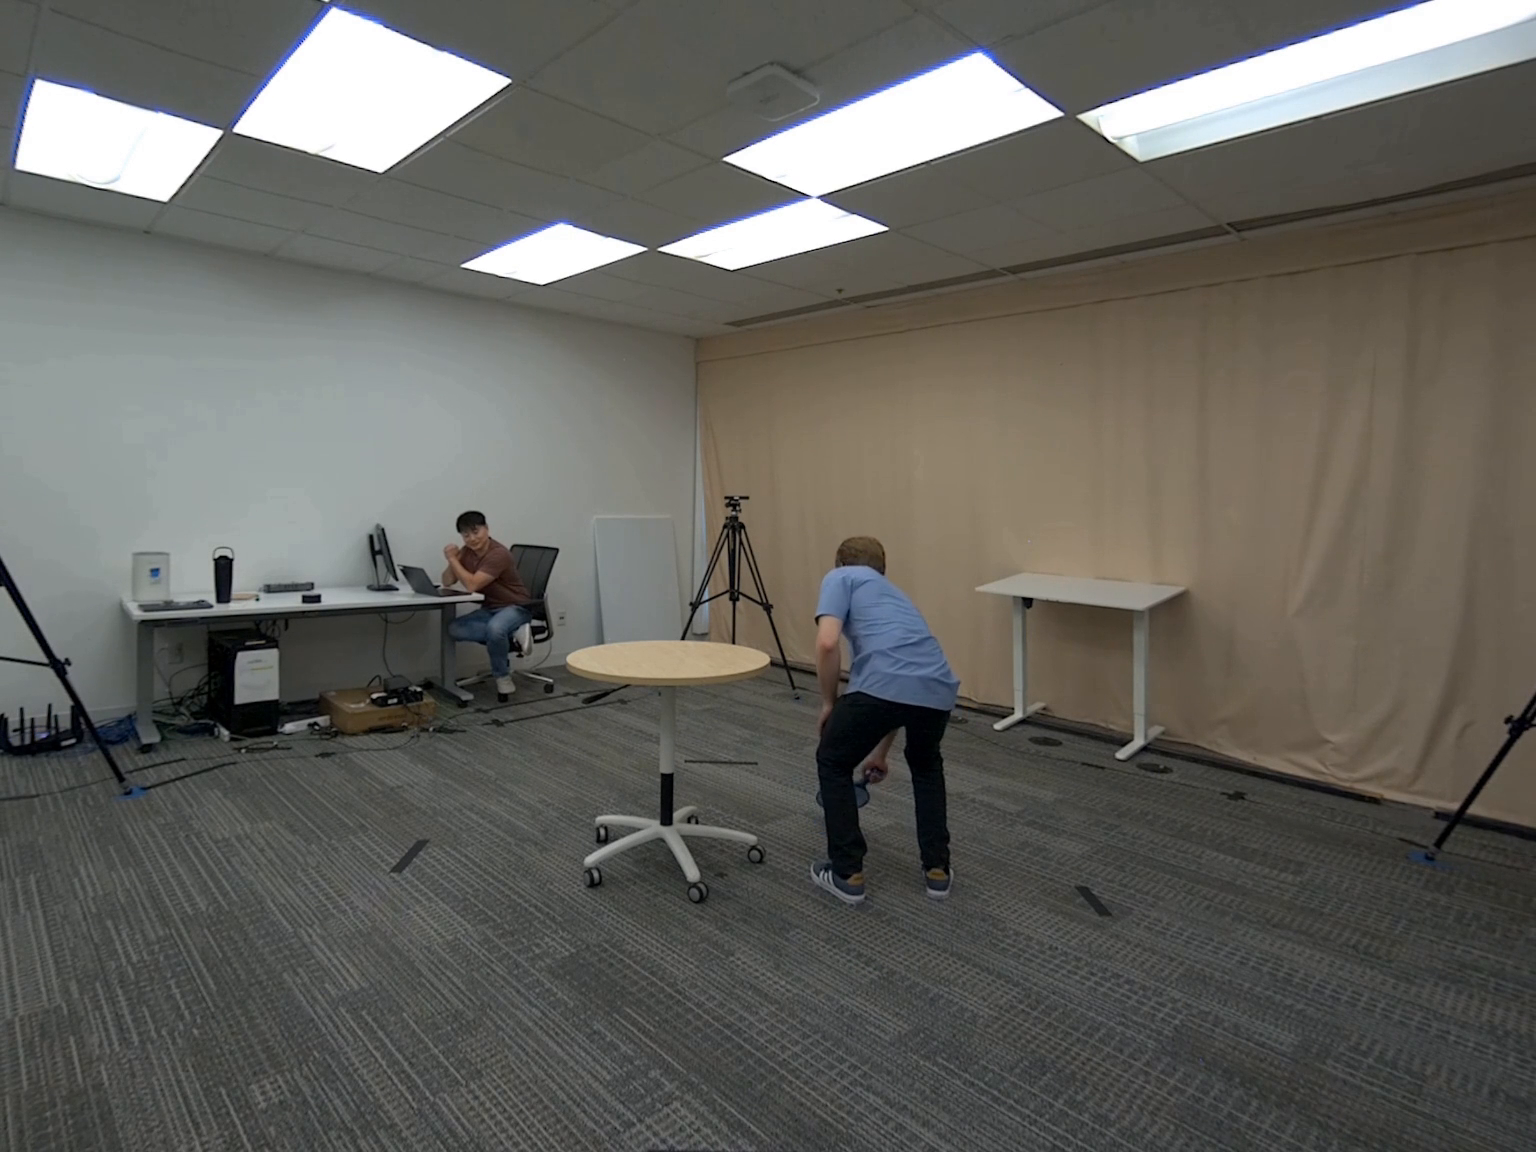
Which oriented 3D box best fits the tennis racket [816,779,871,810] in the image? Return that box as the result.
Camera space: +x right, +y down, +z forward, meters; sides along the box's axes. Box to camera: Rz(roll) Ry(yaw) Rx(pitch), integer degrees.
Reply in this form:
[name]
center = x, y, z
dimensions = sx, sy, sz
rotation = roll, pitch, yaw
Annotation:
[tennis racket]
center = 0.343, 0.883, 3.505
dimensions = 0.210, 0.032, 0.431
rotation = 22, -42, -15
